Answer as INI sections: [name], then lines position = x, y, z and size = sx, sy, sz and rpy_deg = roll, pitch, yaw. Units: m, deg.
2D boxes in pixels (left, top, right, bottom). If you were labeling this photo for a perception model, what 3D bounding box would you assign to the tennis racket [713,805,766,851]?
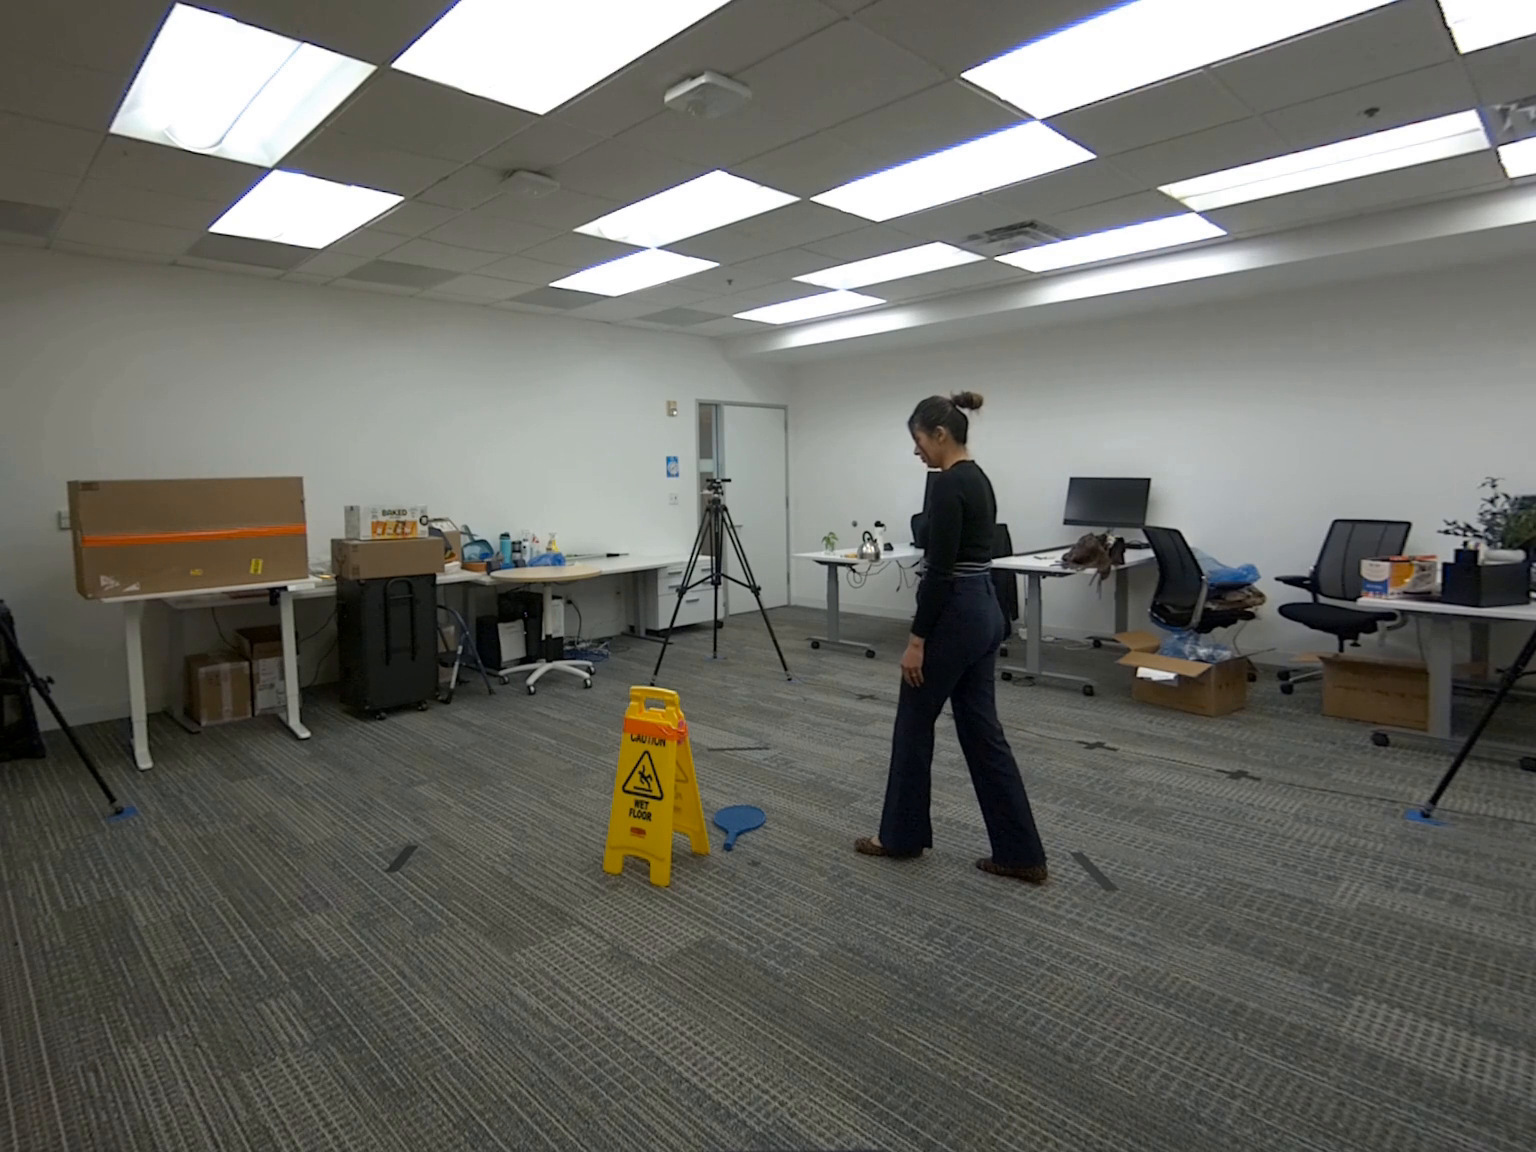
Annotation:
[tennis racket]
position = -0.123, 0.994, 3.420
size = 0.215, 0.031, 0.432
rpy_deg = 0, 5, 5
